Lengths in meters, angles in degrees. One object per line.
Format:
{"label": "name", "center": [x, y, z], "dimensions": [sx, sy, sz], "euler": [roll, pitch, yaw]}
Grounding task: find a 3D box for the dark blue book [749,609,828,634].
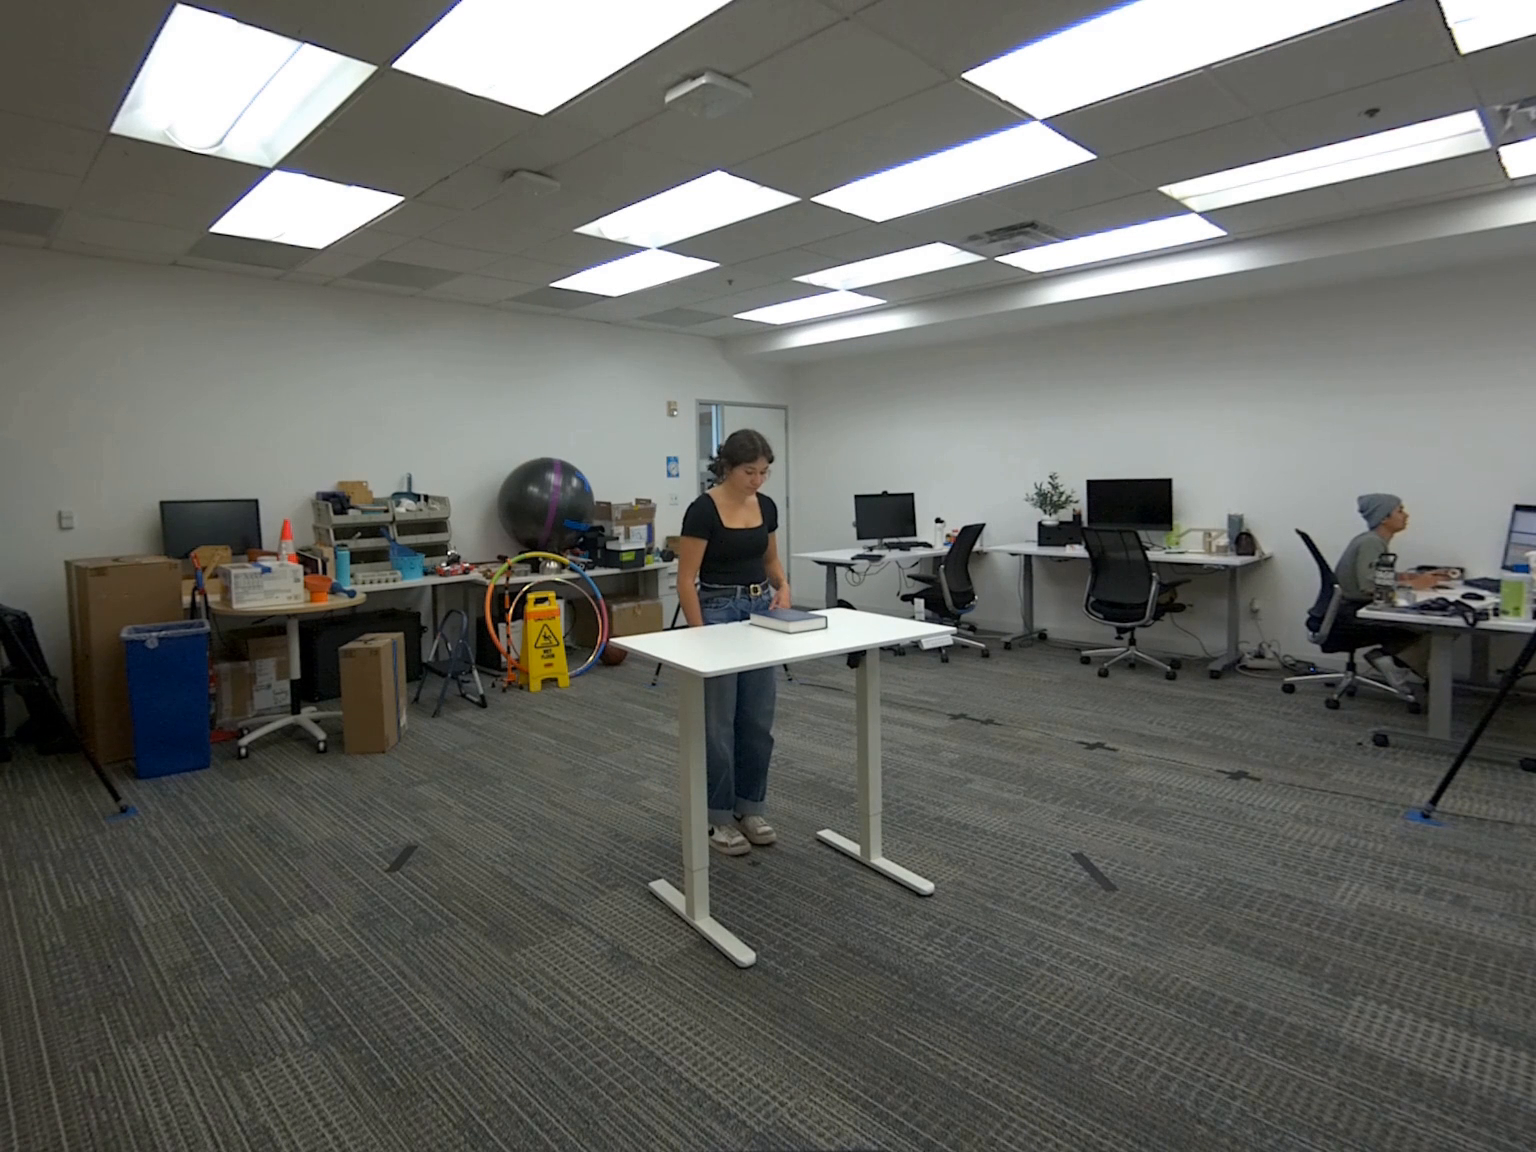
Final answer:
{"label": "dark blue book", "center": [0.063, 0.159, 2.970], "dimensions": [0.159, 0.045, 0.252], "euler": [-5, 7, -34]}
